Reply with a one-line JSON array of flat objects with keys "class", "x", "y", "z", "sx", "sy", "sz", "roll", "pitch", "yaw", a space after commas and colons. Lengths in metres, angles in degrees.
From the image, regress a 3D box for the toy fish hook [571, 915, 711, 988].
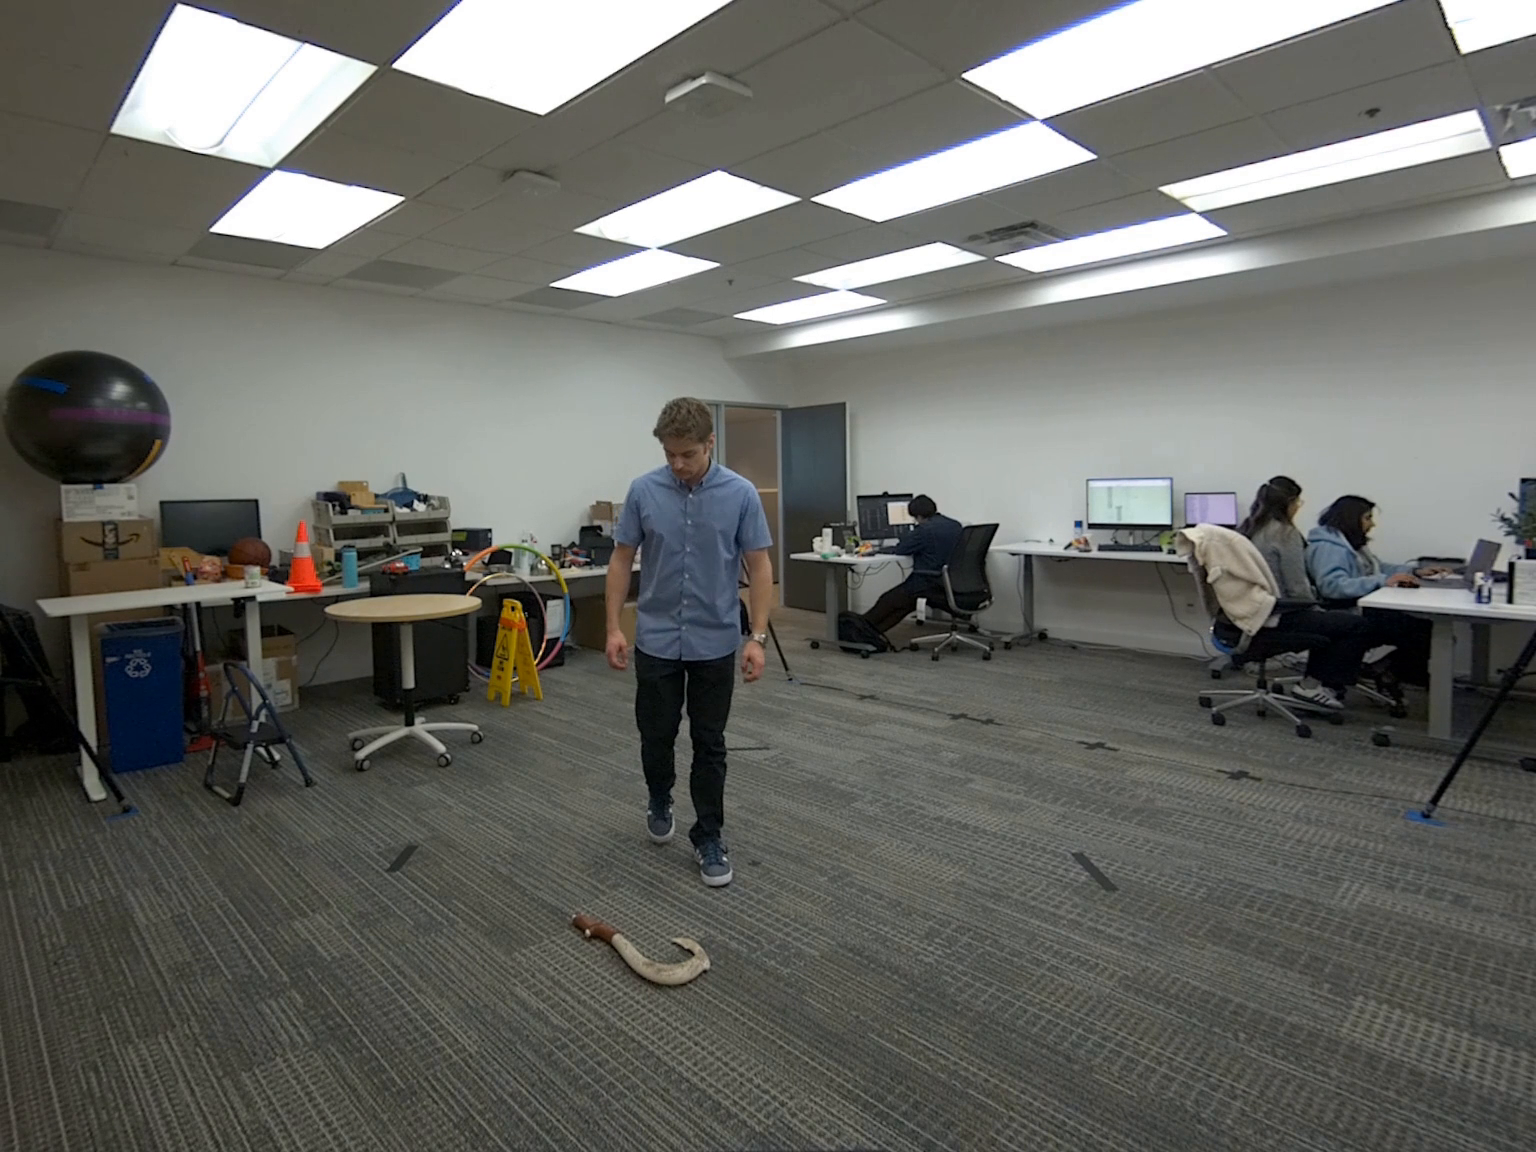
[{"class": "toy fish hook", "x": -0.387, "y": 1.100, "z": 2.566, "sx": 0.522, "sy": 0.048, "sz": 0.218, "roll": 6, "pitch": 3, "yaw": 43}]
